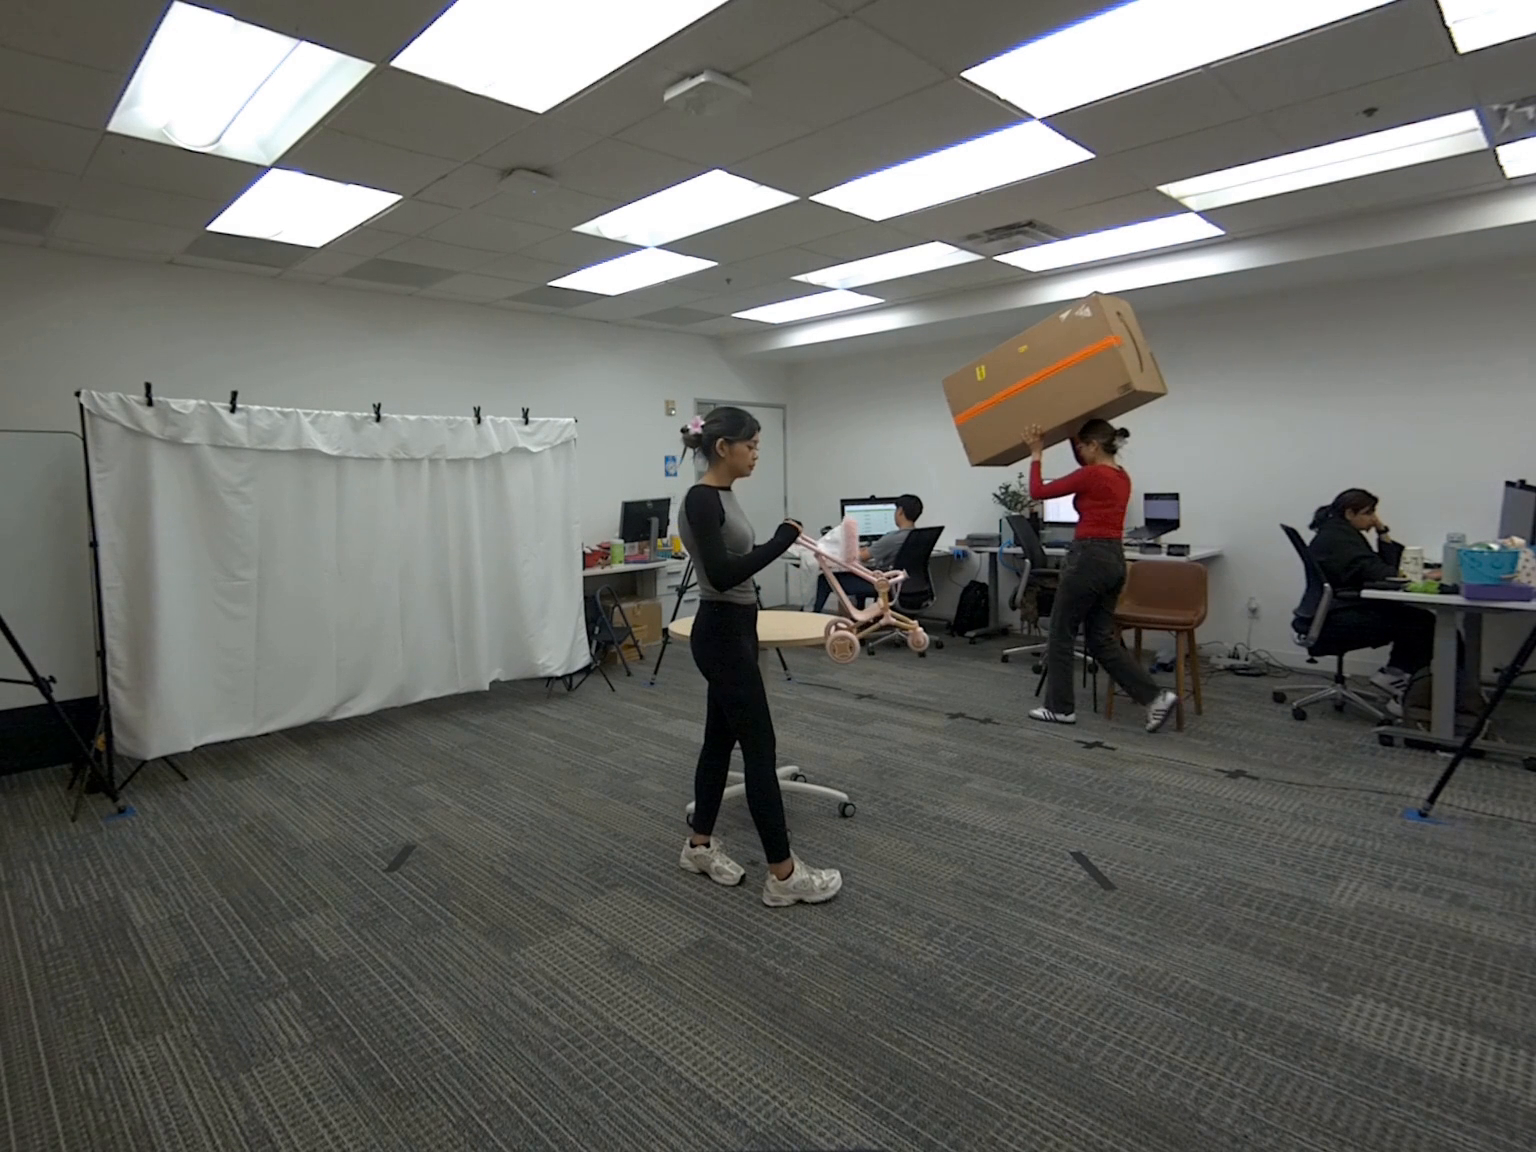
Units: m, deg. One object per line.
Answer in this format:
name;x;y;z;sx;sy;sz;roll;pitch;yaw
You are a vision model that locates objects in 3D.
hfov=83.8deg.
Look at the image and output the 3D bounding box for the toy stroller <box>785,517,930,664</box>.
toy stroller;0.299;0.038;2.827;0.344;0.534;0.280;-18;3;12
